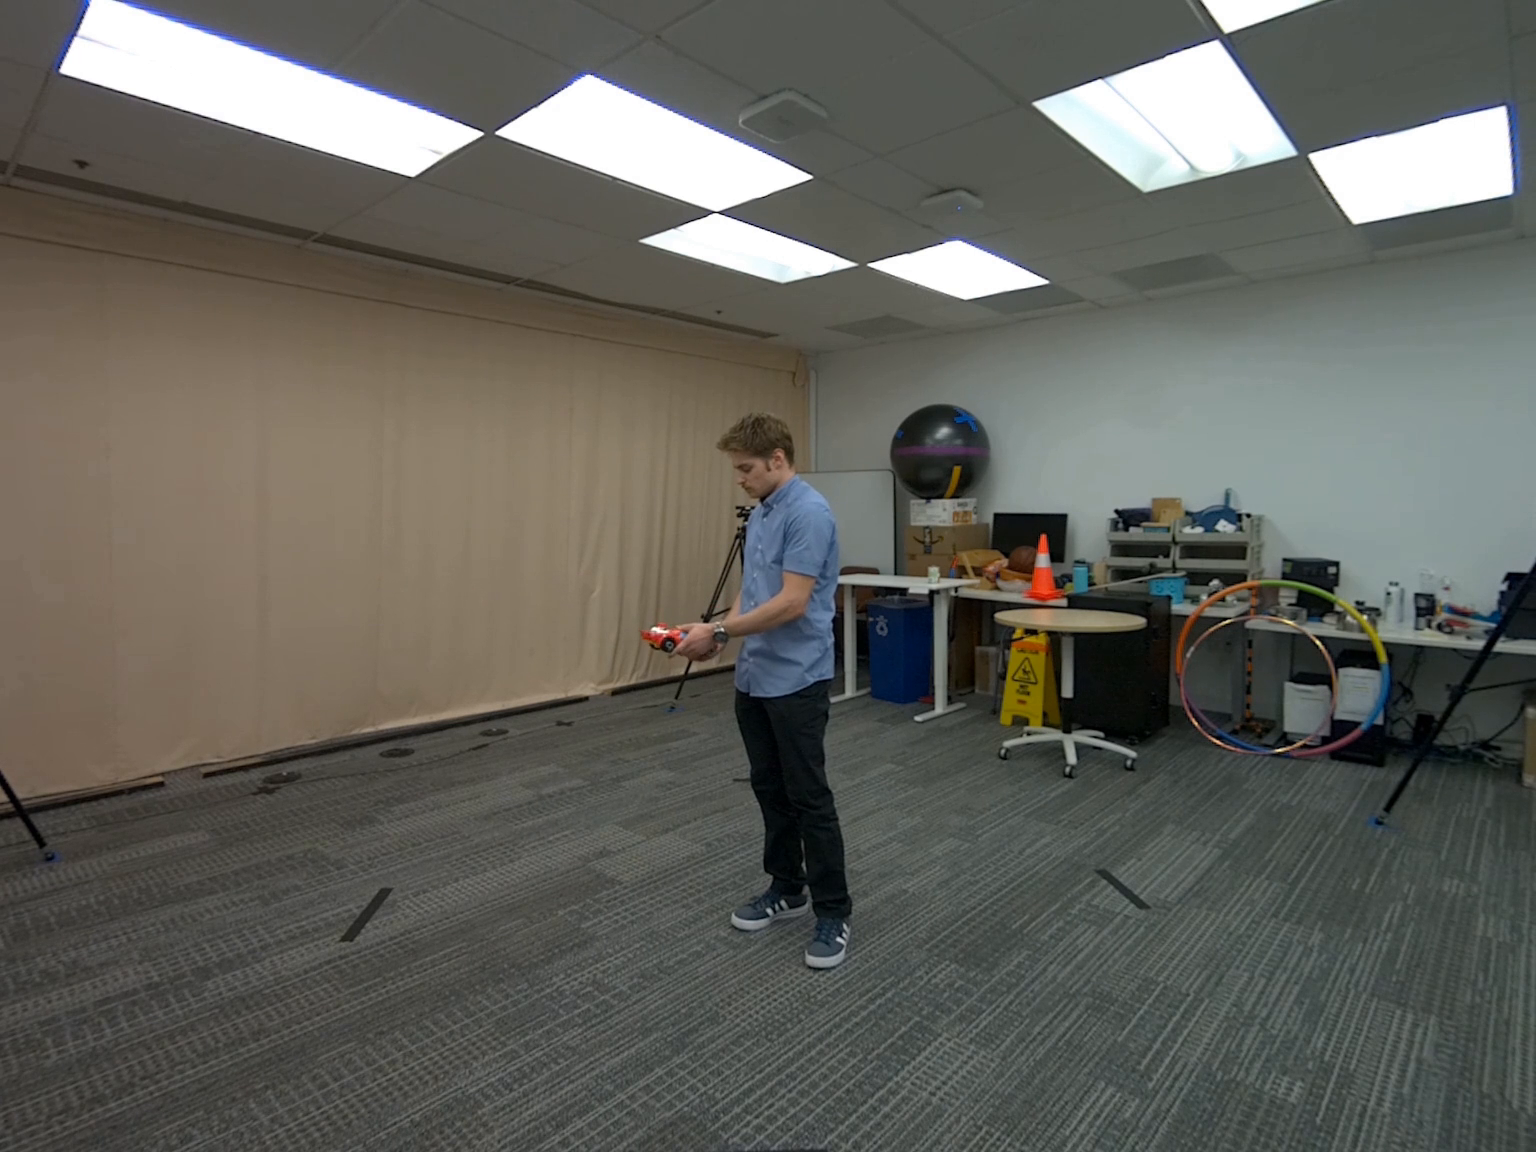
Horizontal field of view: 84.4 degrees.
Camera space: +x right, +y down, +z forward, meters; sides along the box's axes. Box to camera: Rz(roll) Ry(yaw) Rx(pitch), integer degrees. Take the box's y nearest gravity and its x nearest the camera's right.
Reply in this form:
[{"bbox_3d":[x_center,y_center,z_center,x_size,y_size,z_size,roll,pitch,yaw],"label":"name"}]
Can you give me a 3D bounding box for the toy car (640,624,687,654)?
[{"bbox_3d":[-0.287,0.212,2.683,0.248,0.083,0.133,22,-10,-24],"label":"toy car"}]
